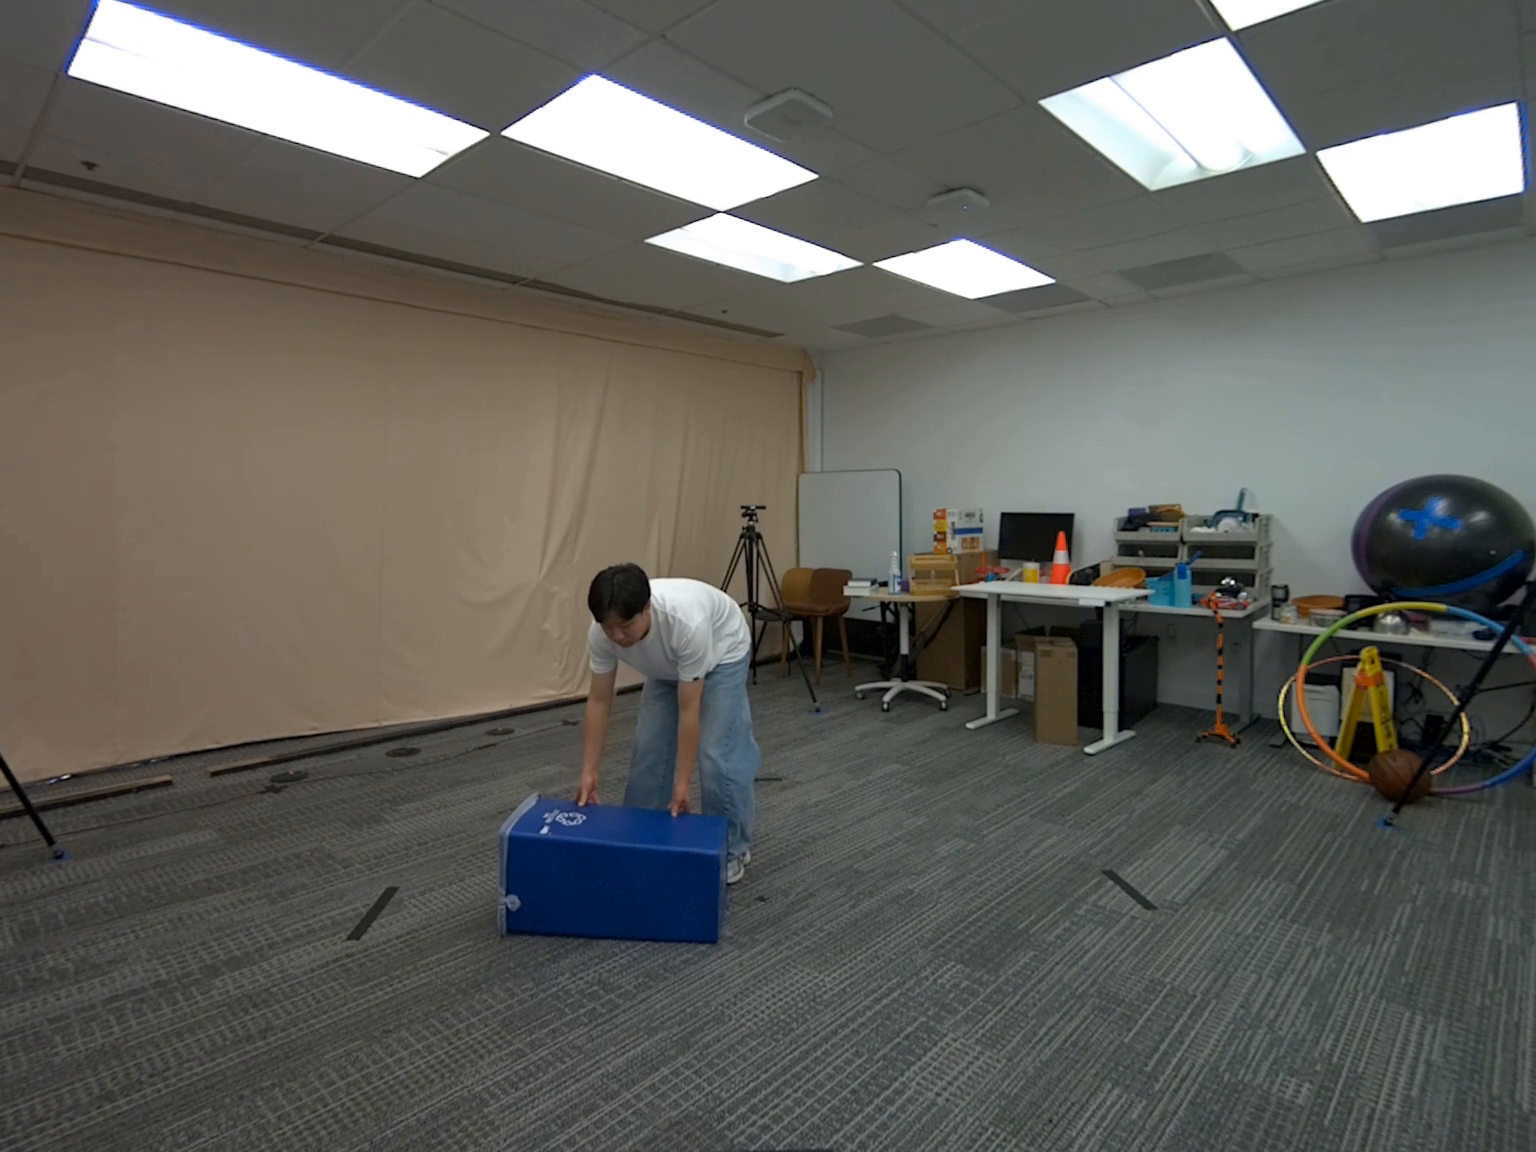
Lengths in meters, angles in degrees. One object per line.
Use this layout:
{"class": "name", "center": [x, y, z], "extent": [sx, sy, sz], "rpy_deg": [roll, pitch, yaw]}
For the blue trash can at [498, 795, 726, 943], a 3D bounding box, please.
{"class": "blue trash can", "center": [-0.507, 0.994, 2.847], "extent": [0.718, 0.377, 0.373], "rpy_deg": [3, 4, 5]}
